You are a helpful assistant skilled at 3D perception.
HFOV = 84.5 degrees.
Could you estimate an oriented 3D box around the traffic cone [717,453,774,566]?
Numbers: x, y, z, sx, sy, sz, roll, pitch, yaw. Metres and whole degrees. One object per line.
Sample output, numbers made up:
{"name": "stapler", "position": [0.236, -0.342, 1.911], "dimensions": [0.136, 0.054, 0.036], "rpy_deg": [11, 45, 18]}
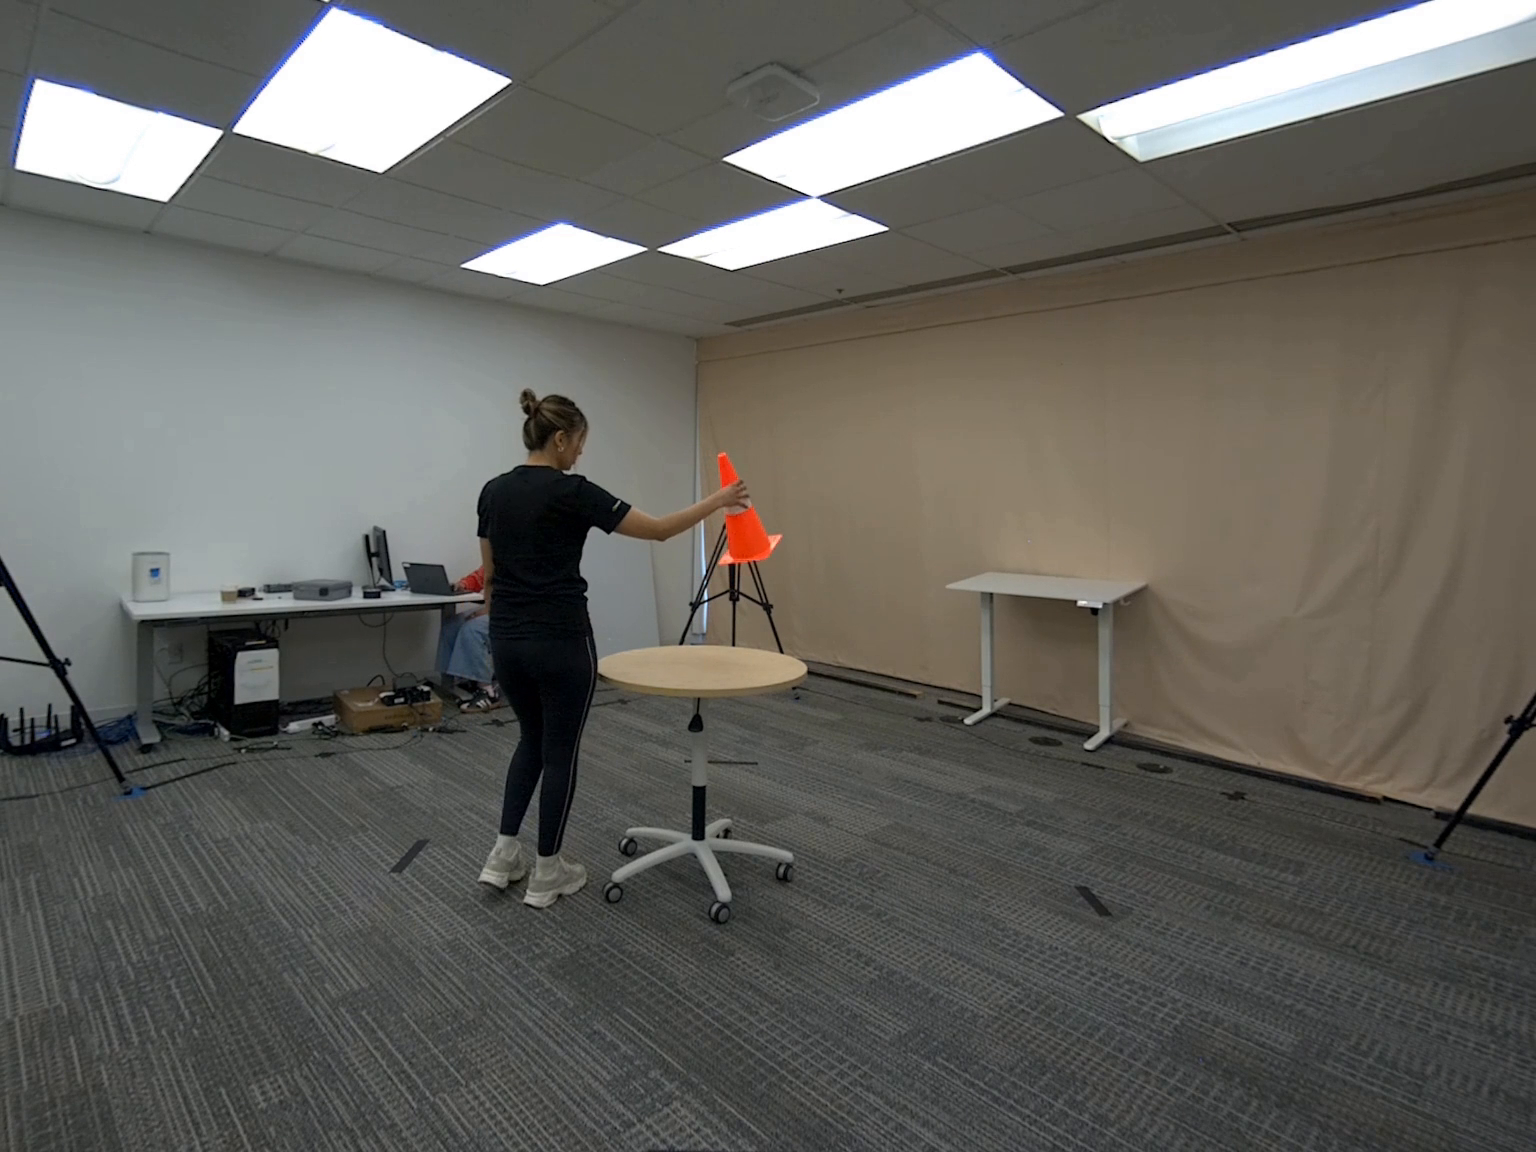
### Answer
{"name": "traffic cone", "position": [-0.124, -0.257, 3.034], "dimensions": [0.209, 0.377, 0.203], "rpy_deg": [-6, 23, 28]}
